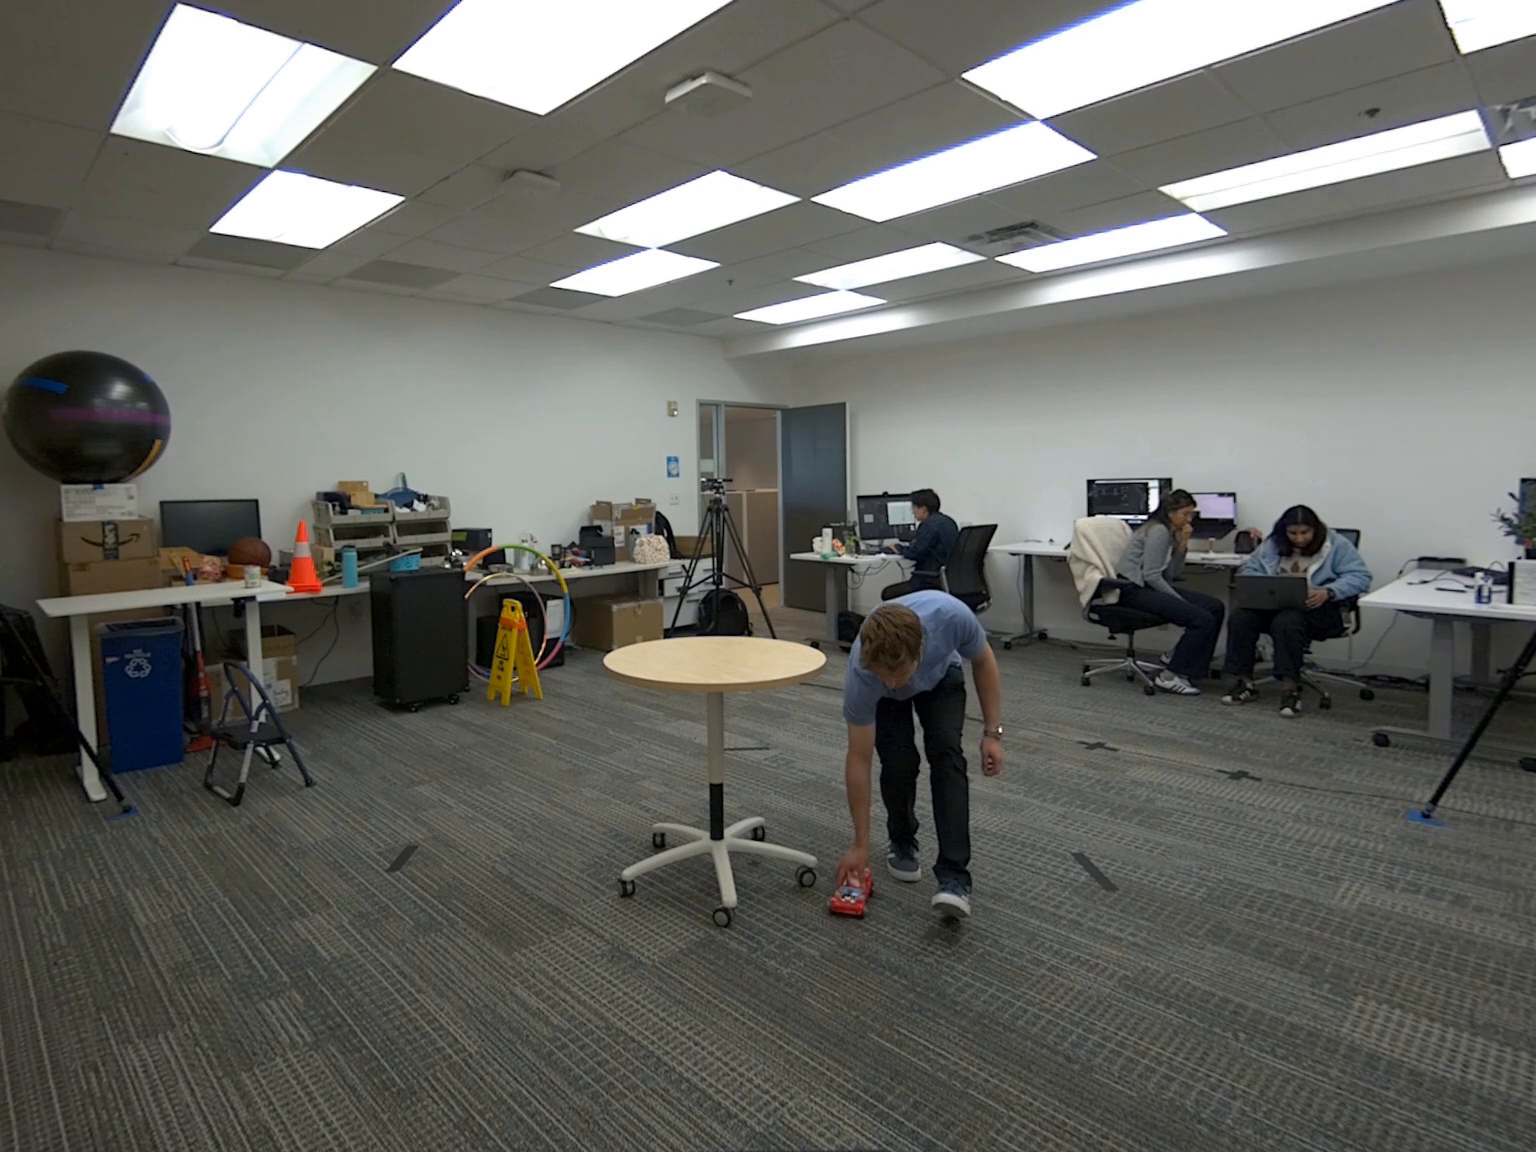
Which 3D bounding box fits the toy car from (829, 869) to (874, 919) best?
[{"bbox_3d":[0.285,1.046,2.815,0.133,0.082,0.254,1,18,18],"label":"toy car"}]
